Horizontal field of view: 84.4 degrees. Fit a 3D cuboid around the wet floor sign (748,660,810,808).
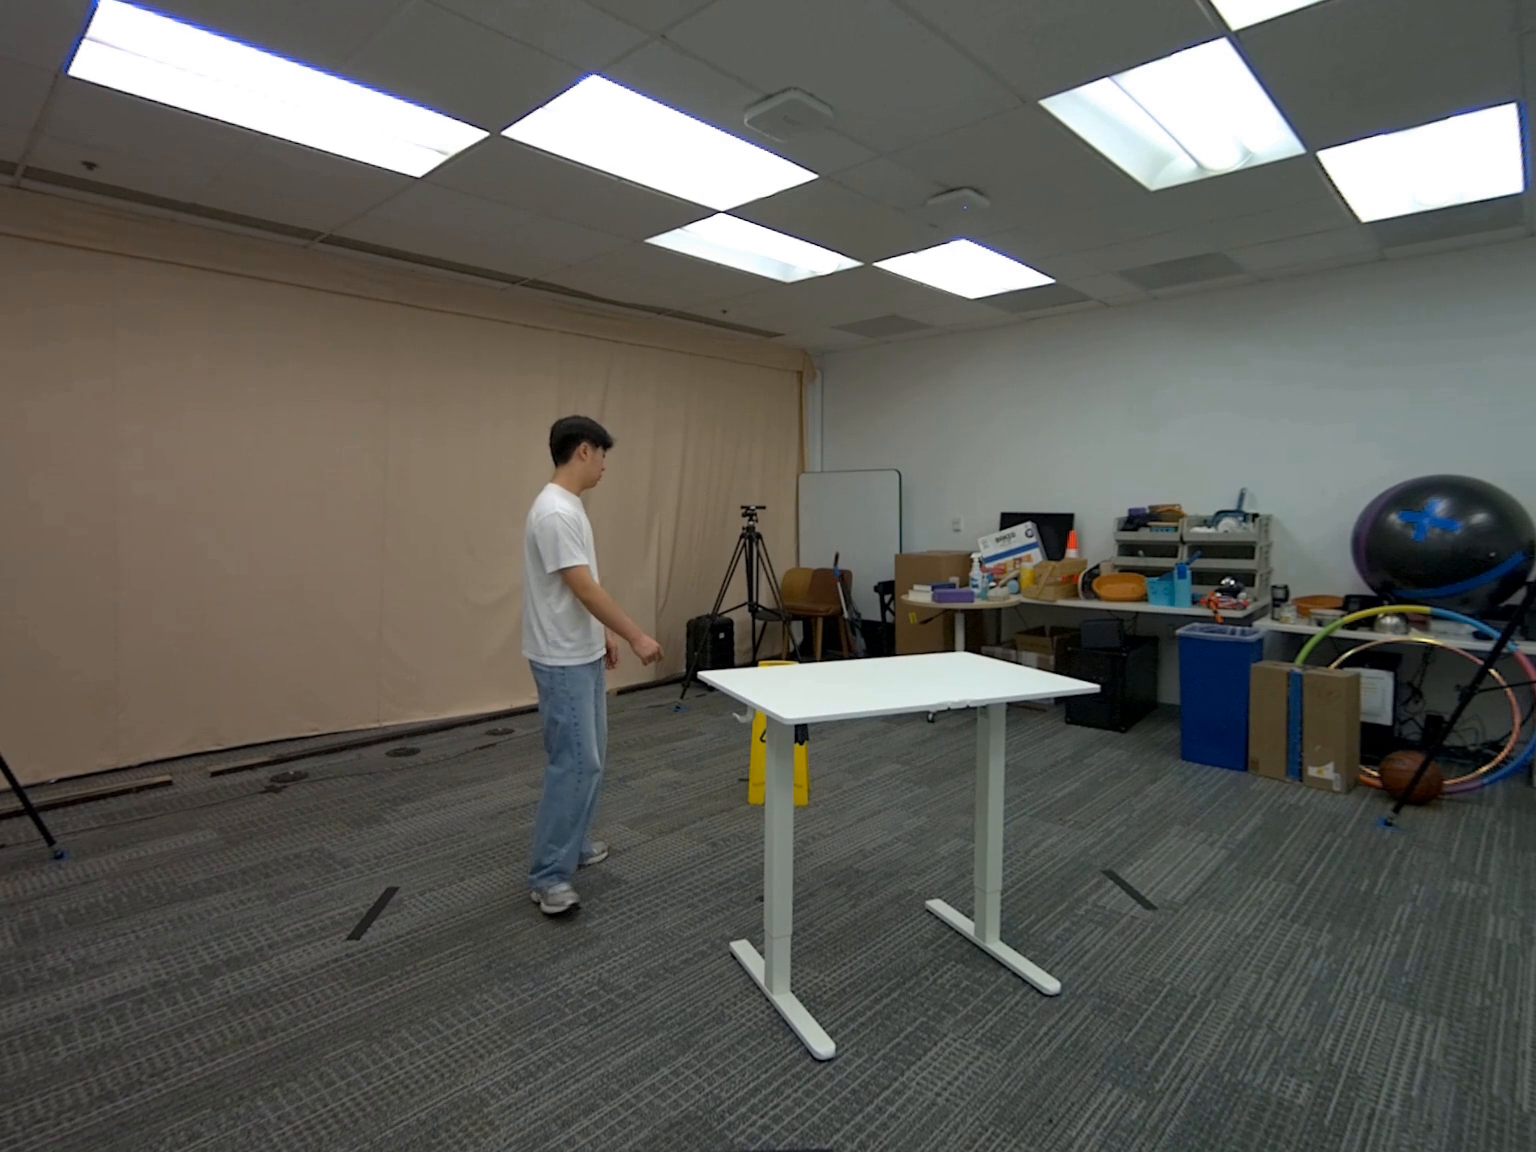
[{"bbox_3d":[0.055,0.731,4.035,0.284,0.645,0.288,1,3,6],"label":"wet floor sign"}]
